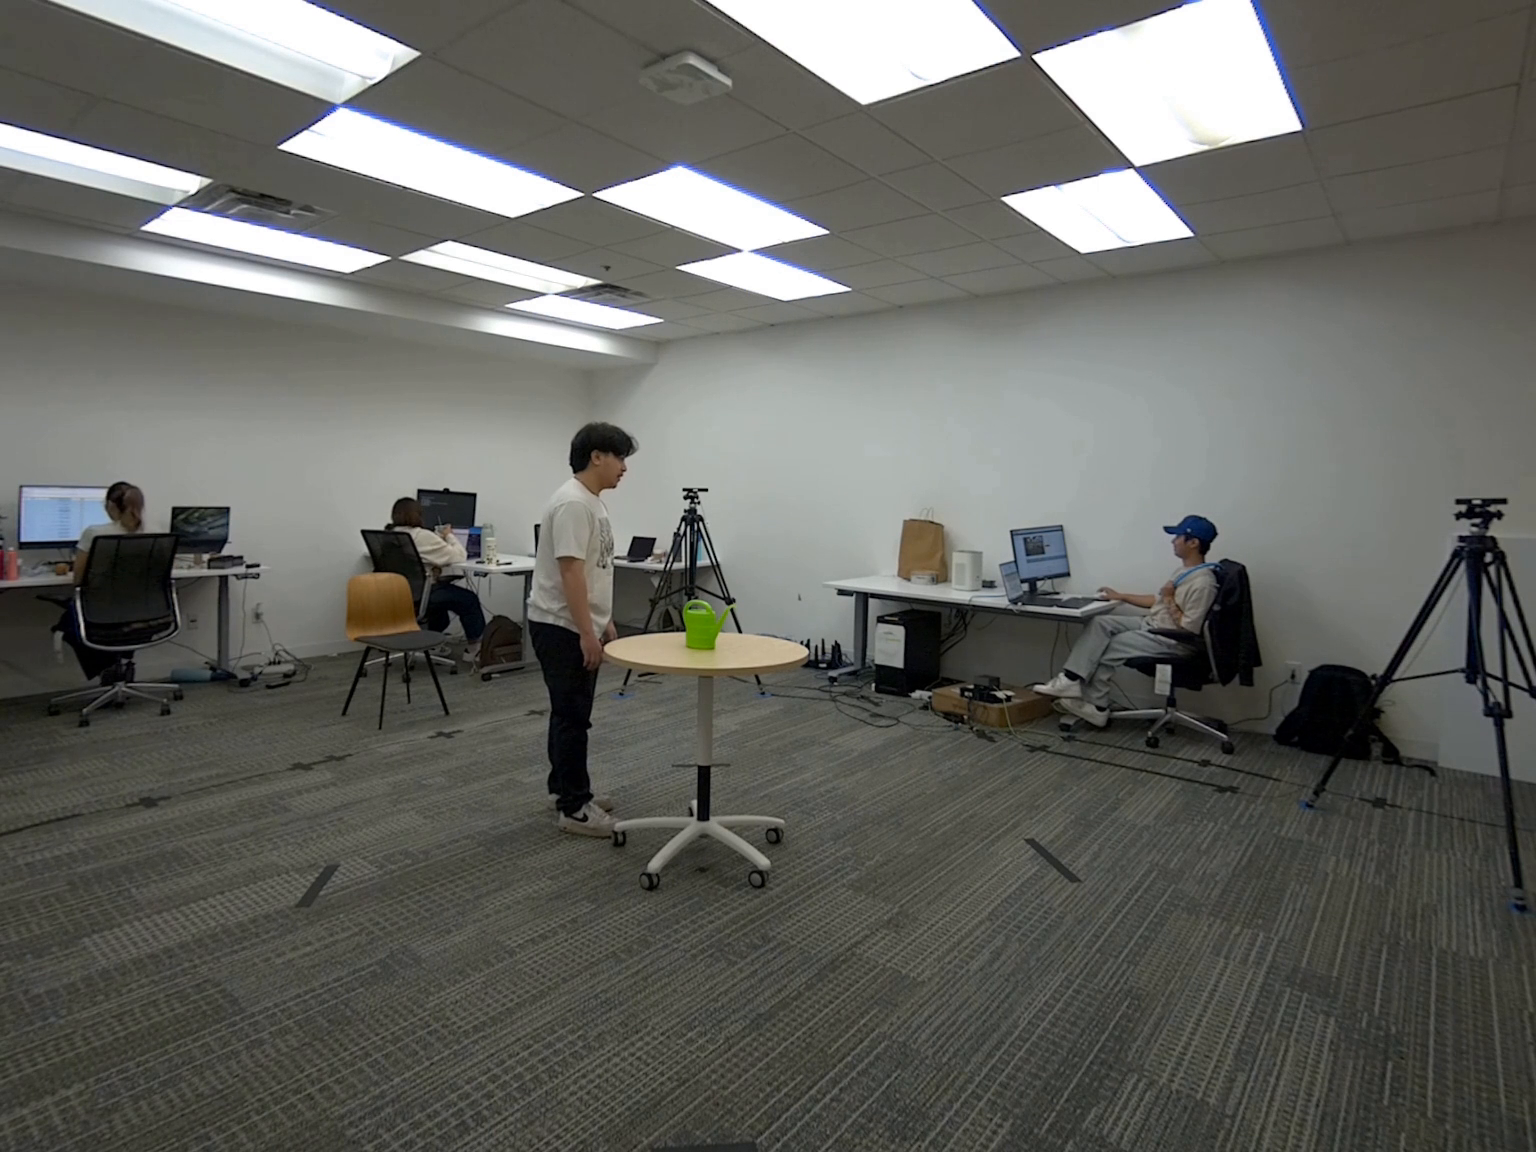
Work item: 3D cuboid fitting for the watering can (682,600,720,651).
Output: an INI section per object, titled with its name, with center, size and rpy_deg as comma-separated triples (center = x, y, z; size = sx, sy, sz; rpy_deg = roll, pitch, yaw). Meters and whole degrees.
[watering can]
center = -0.241, 0.181, 3.186
size = 0.095, 0.176, 0.287
rpy_deg = -3, 4, -35
